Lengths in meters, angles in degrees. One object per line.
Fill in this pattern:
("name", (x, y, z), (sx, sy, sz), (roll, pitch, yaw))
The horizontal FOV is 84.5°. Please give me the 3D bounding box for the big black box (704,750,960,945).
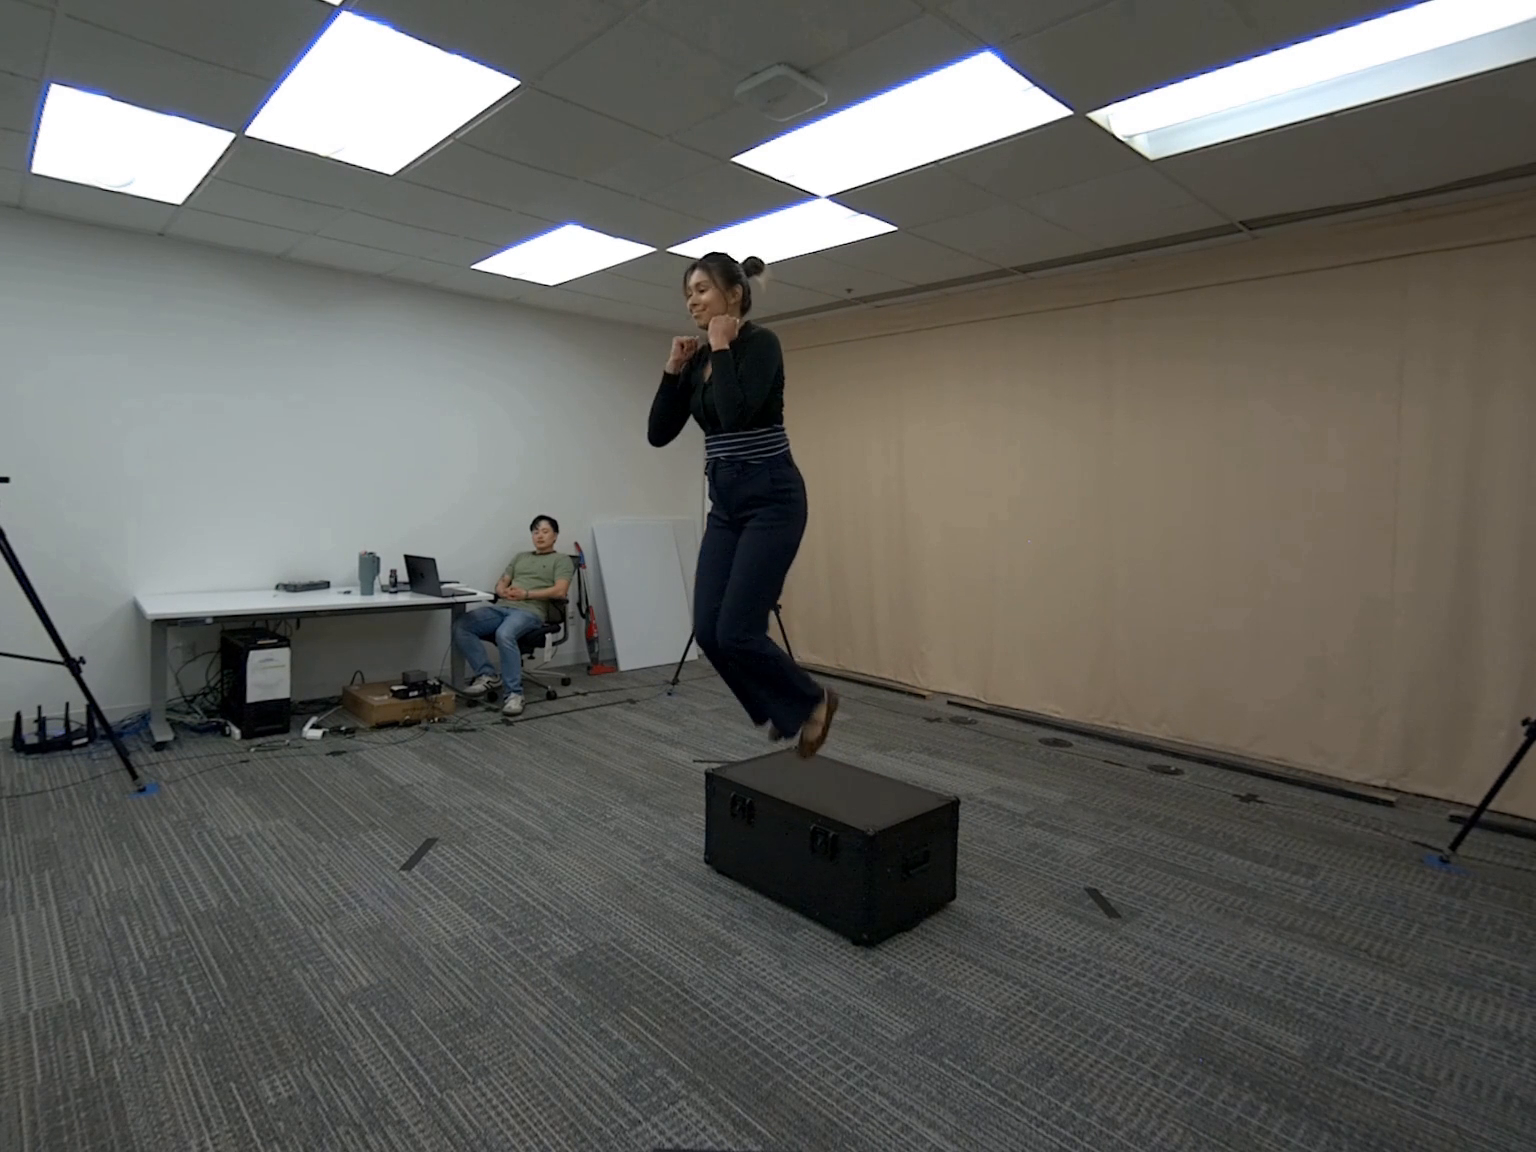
("big black box", (0.217, 0.930, 2.991), (0.509, 0.395, 0.883), (-3, 6, -43))
